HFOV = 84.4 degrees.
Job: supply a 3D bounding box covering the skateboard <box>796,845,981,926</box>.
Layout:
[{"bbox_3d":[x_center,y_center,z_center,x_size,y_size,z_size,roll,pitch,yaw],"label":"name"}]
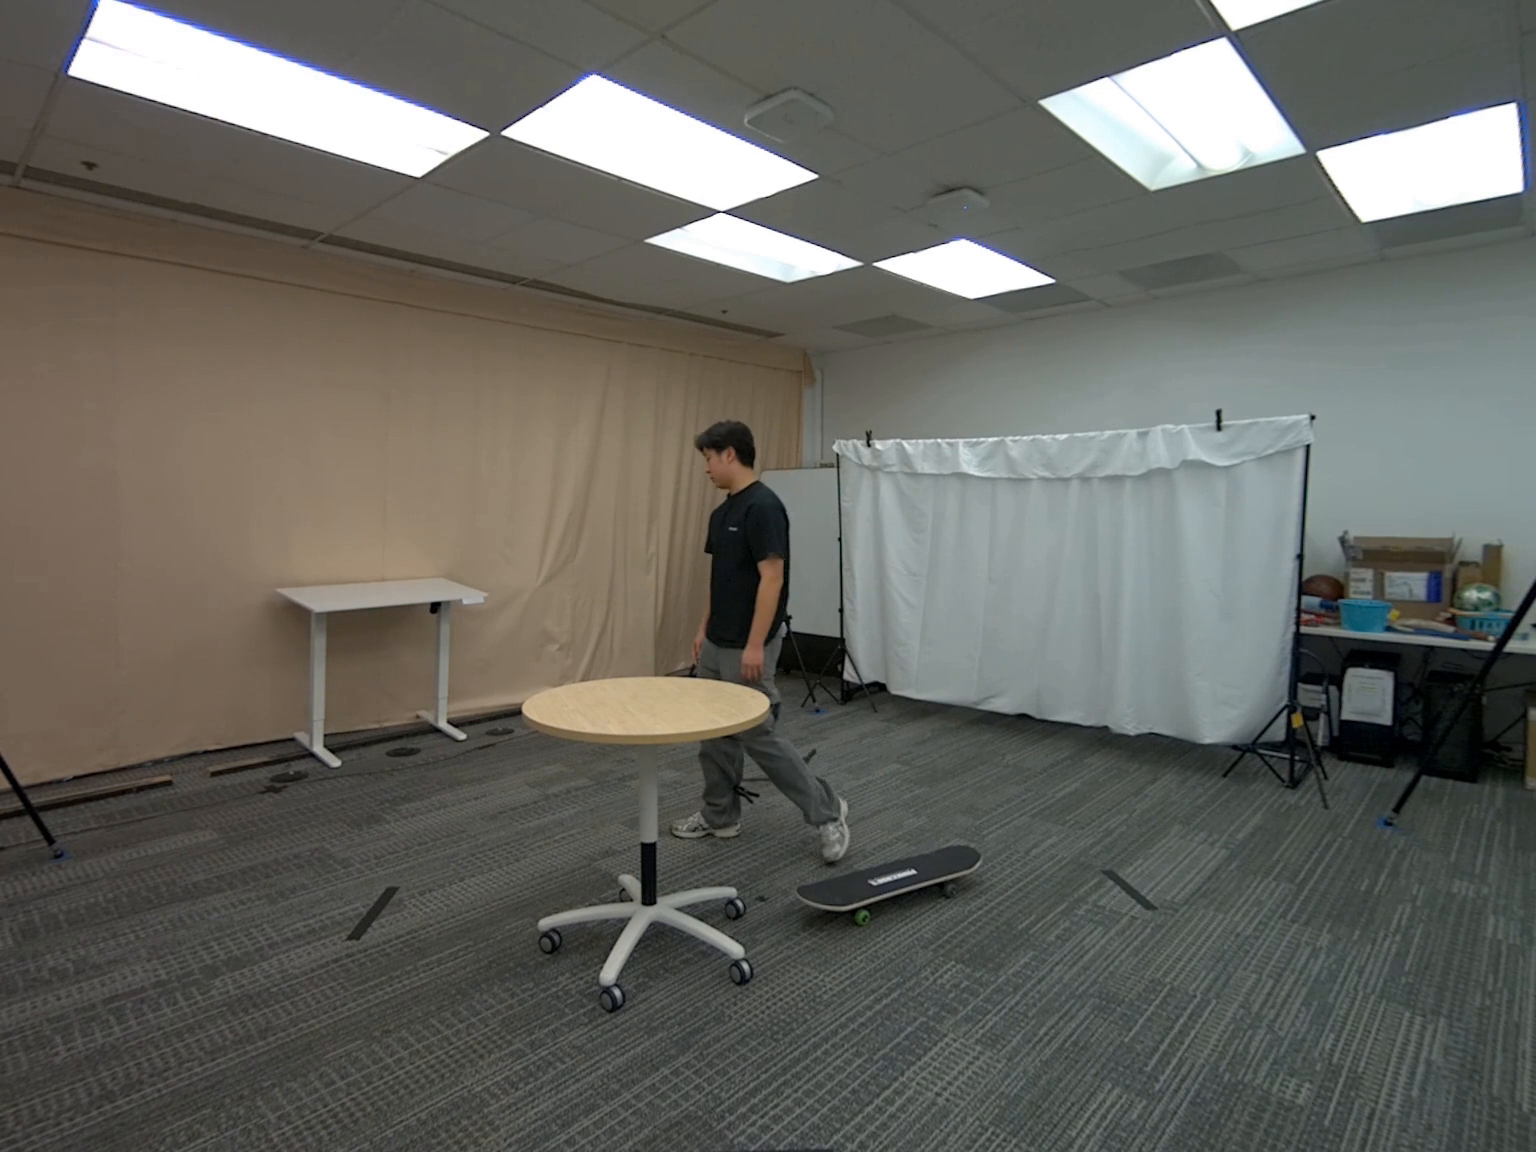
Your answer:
[{"bbox_3d":[0.440,1.086,2.956,0.764,0.110,0.199,-3,6,-30],"label":"skateboard"}]
